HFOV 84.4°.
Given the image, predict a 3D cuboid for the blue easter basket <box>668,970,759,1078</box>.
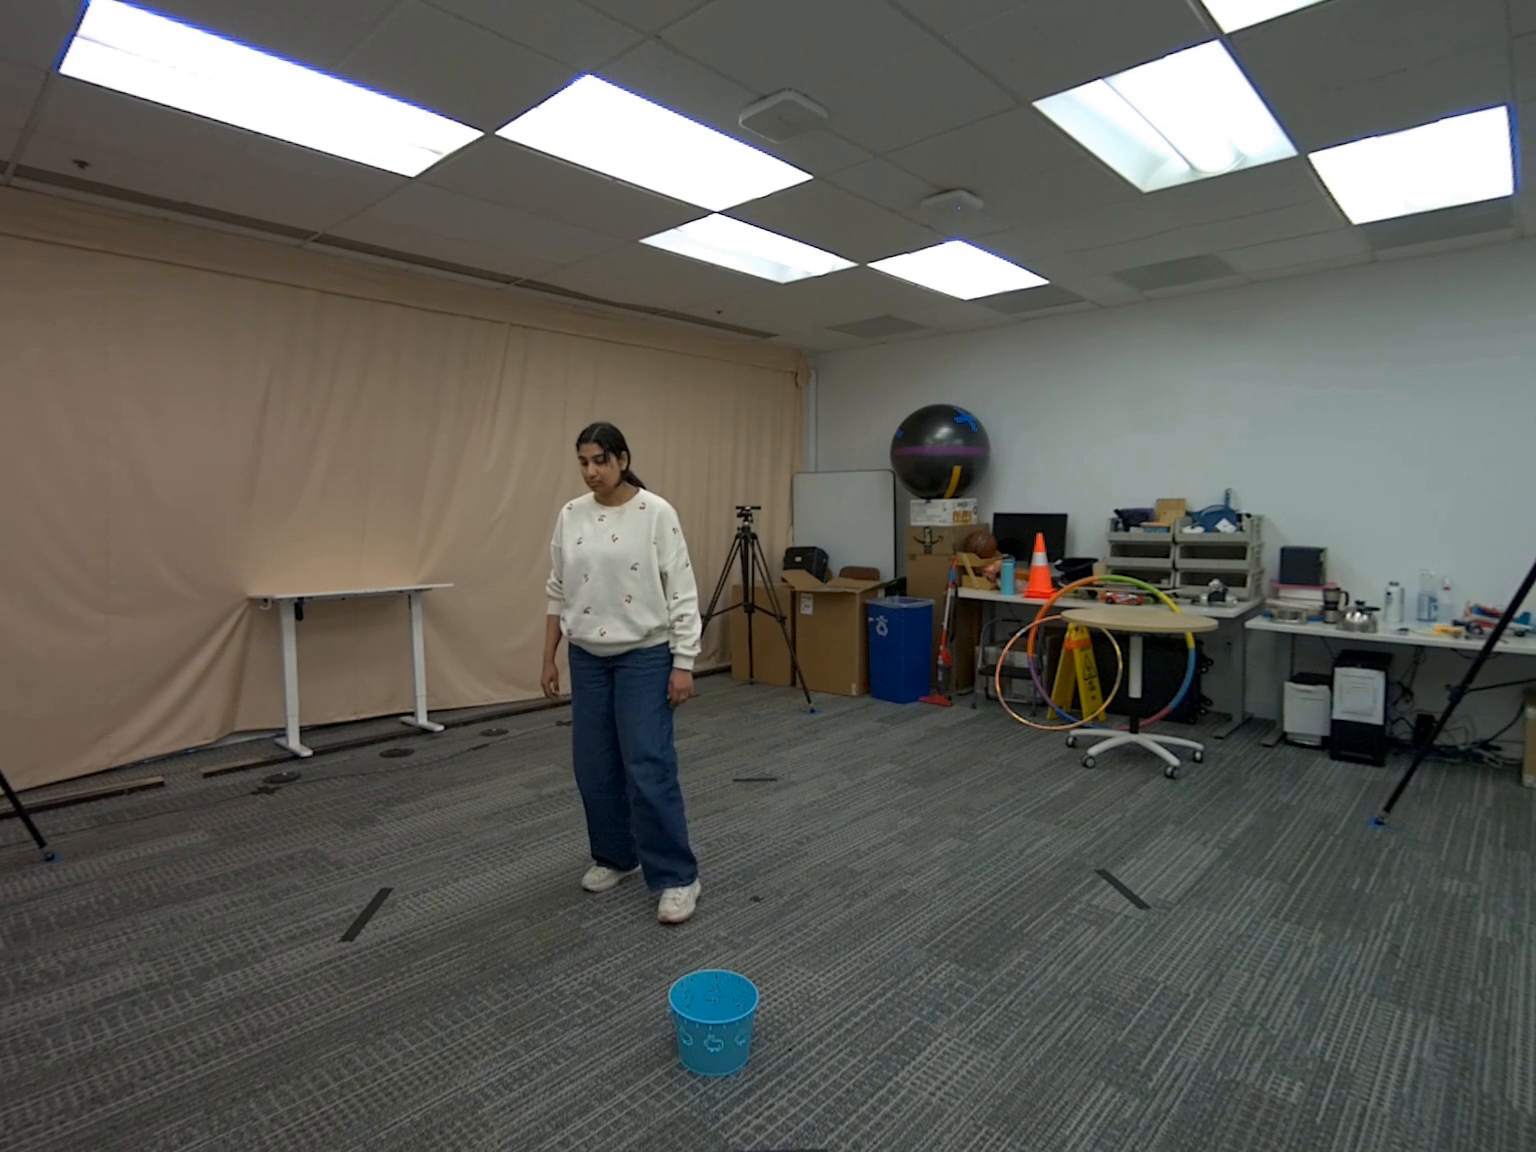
[{"bbox_3d":[-0.133,1.135,2.143,0.243,0.155,0.244,0,4,-2],"label":"blue easter basket"}]
